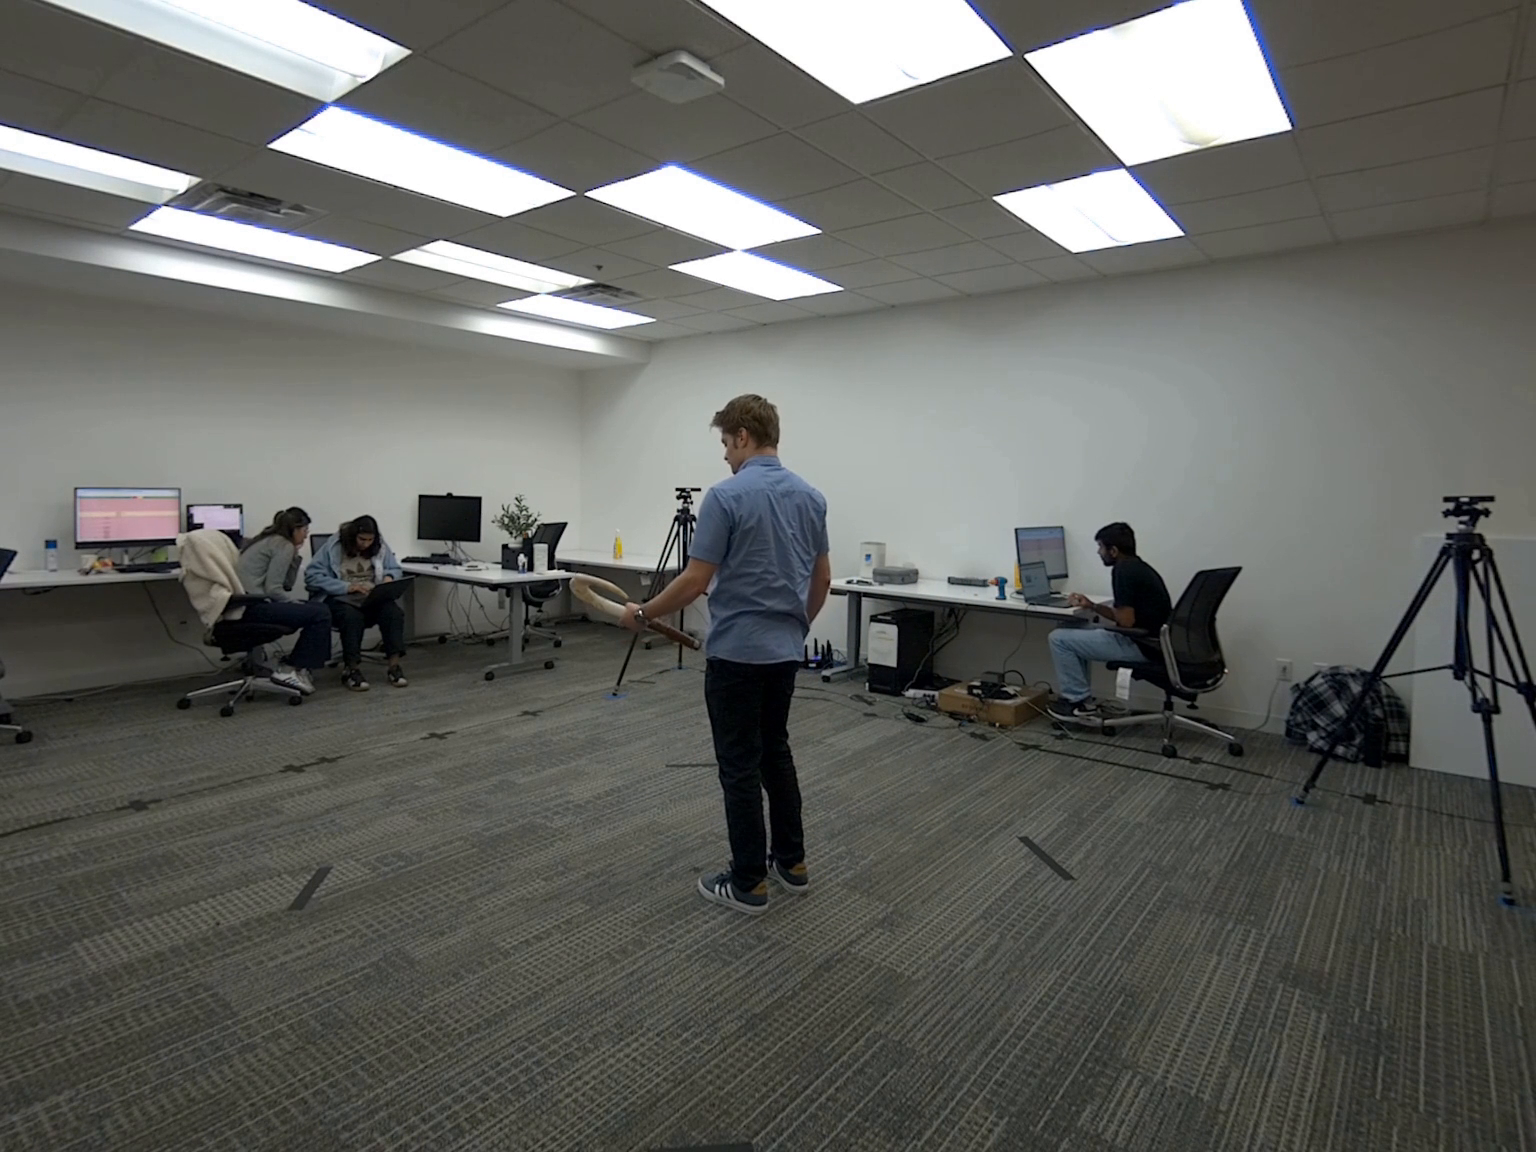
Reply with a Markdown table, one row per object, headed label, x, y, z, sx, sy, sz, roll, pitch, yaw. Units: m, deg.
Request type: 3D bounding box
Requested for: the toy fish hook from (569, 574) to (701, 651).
| label | x | y | z | sx | sy | sz | roll | pitch | yaw |
| --- | --- | --- | --- | --- | --- | --- | --- | --- | --- |
| toy fish hook | -0.452 | 0.137 | 2.898 | 0.504 | 0.049 | 0.223 | 25 | -24 | -4 |
